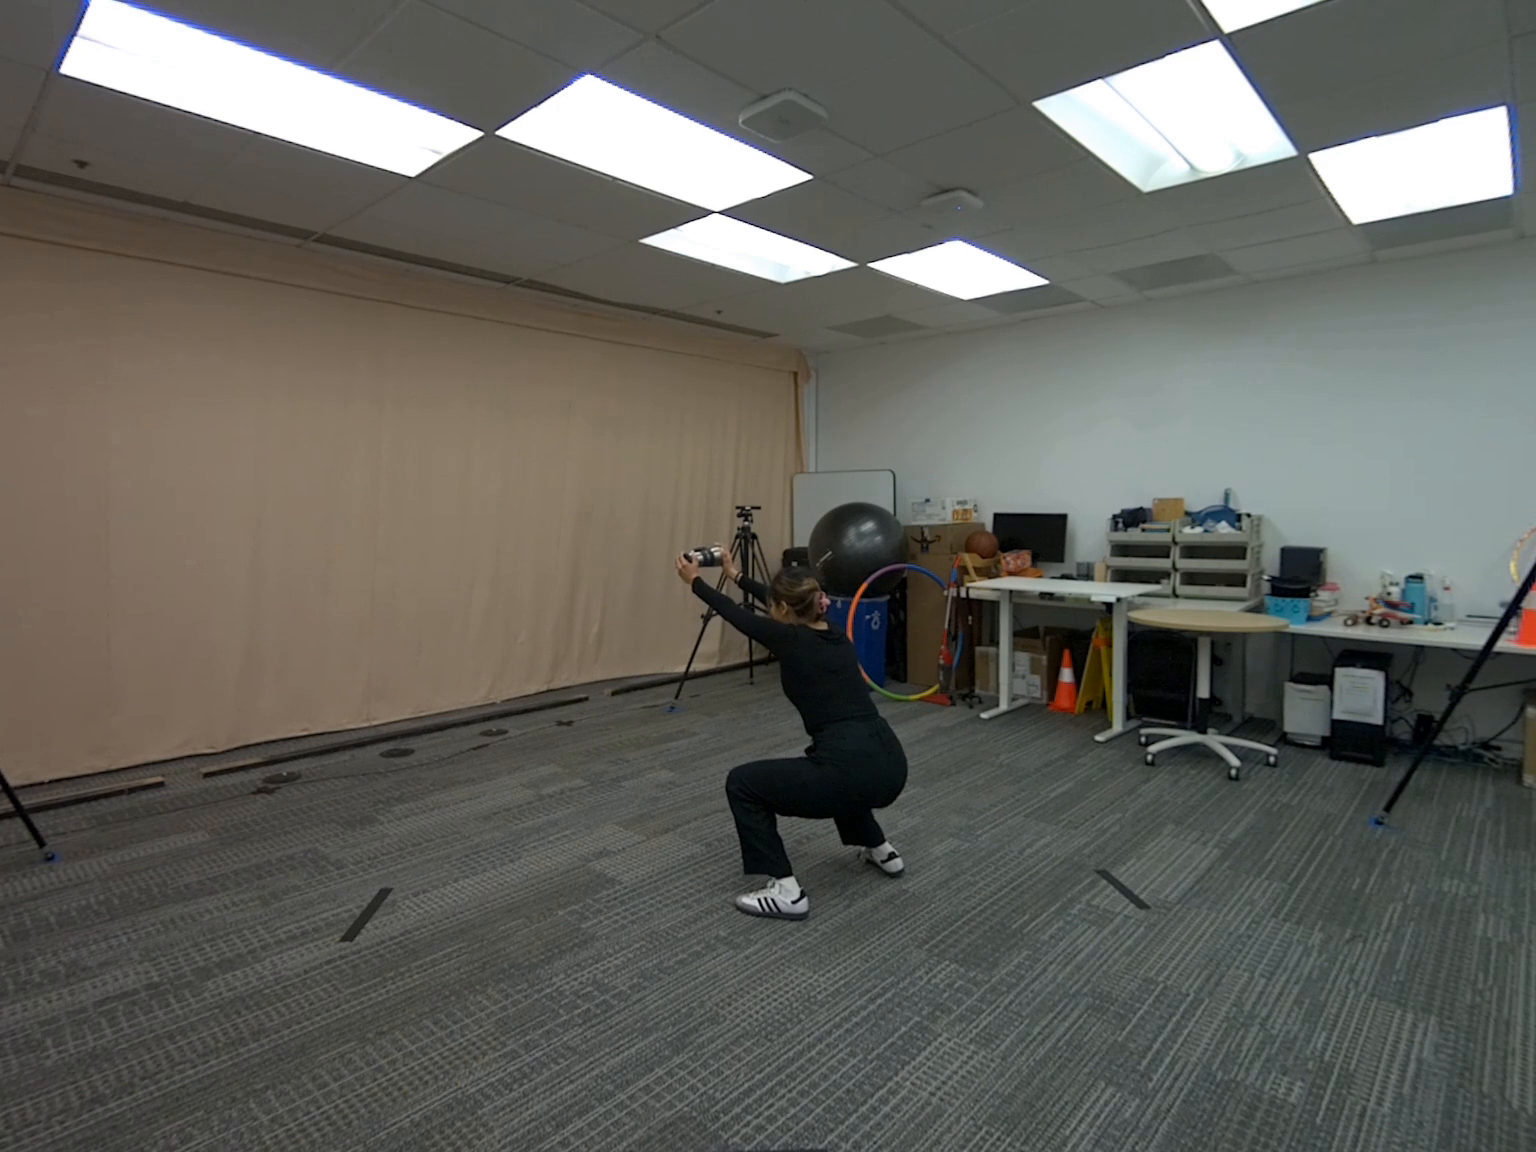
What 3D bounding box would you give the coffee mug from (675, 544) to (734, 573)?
[{"bbox_3d":[-0.268,-0.074,3.551,0.198,0.087,0.126,-12,8,-36],"label":"coffee mug"}]
